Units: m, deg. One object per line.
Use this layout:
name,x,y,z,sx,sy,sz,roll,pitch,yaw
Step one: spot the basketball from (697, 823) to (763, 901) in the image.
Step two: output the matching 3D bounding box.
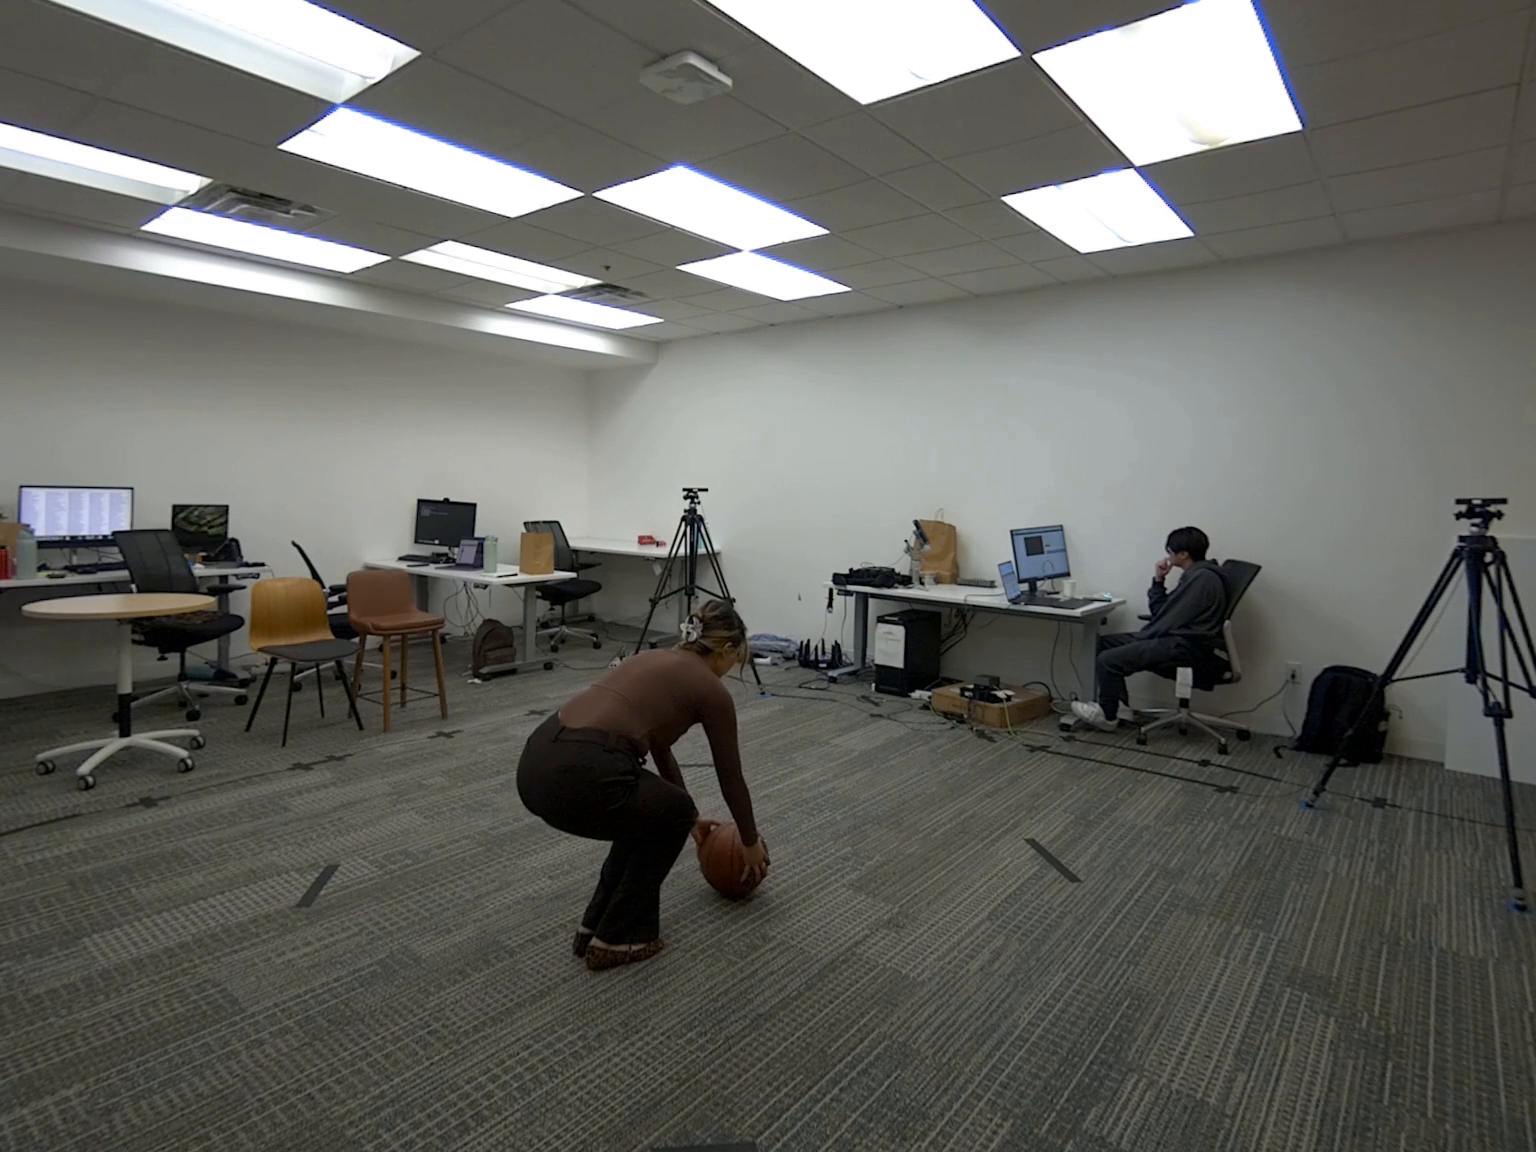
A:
basketball,-0.123,0.961,2.925,0.235,0.235,0.237,1,4,-2
